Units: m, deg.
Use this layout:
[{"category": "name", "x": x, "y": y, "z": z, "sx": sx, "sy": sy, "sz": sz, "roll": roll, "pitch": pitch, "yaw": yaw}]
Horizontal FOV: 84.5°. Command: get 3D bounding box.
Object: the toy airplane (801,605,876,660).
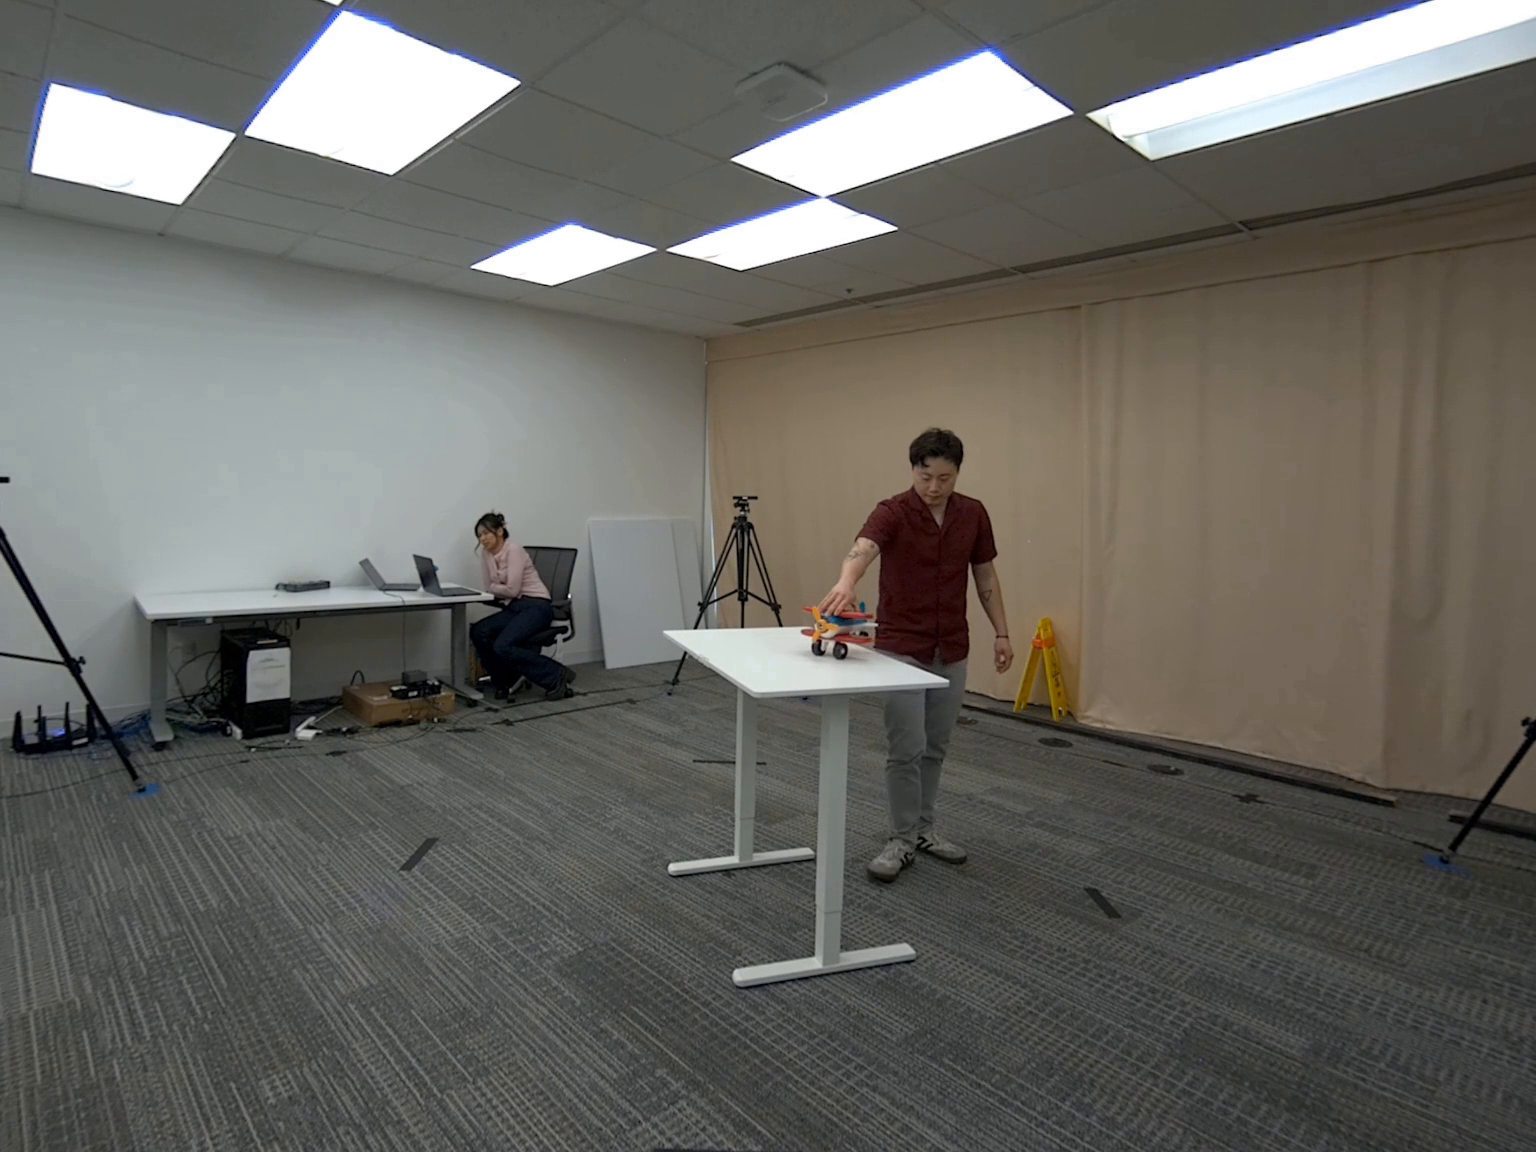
[{"category": "toy airplane", "x": 0.227, "y": 0.171, "z": 2.786, "sx": 0.253, "sy": 0.155, "sz": 0.259, "roll": -2, "pitch": 14, "yaw": 13}]
